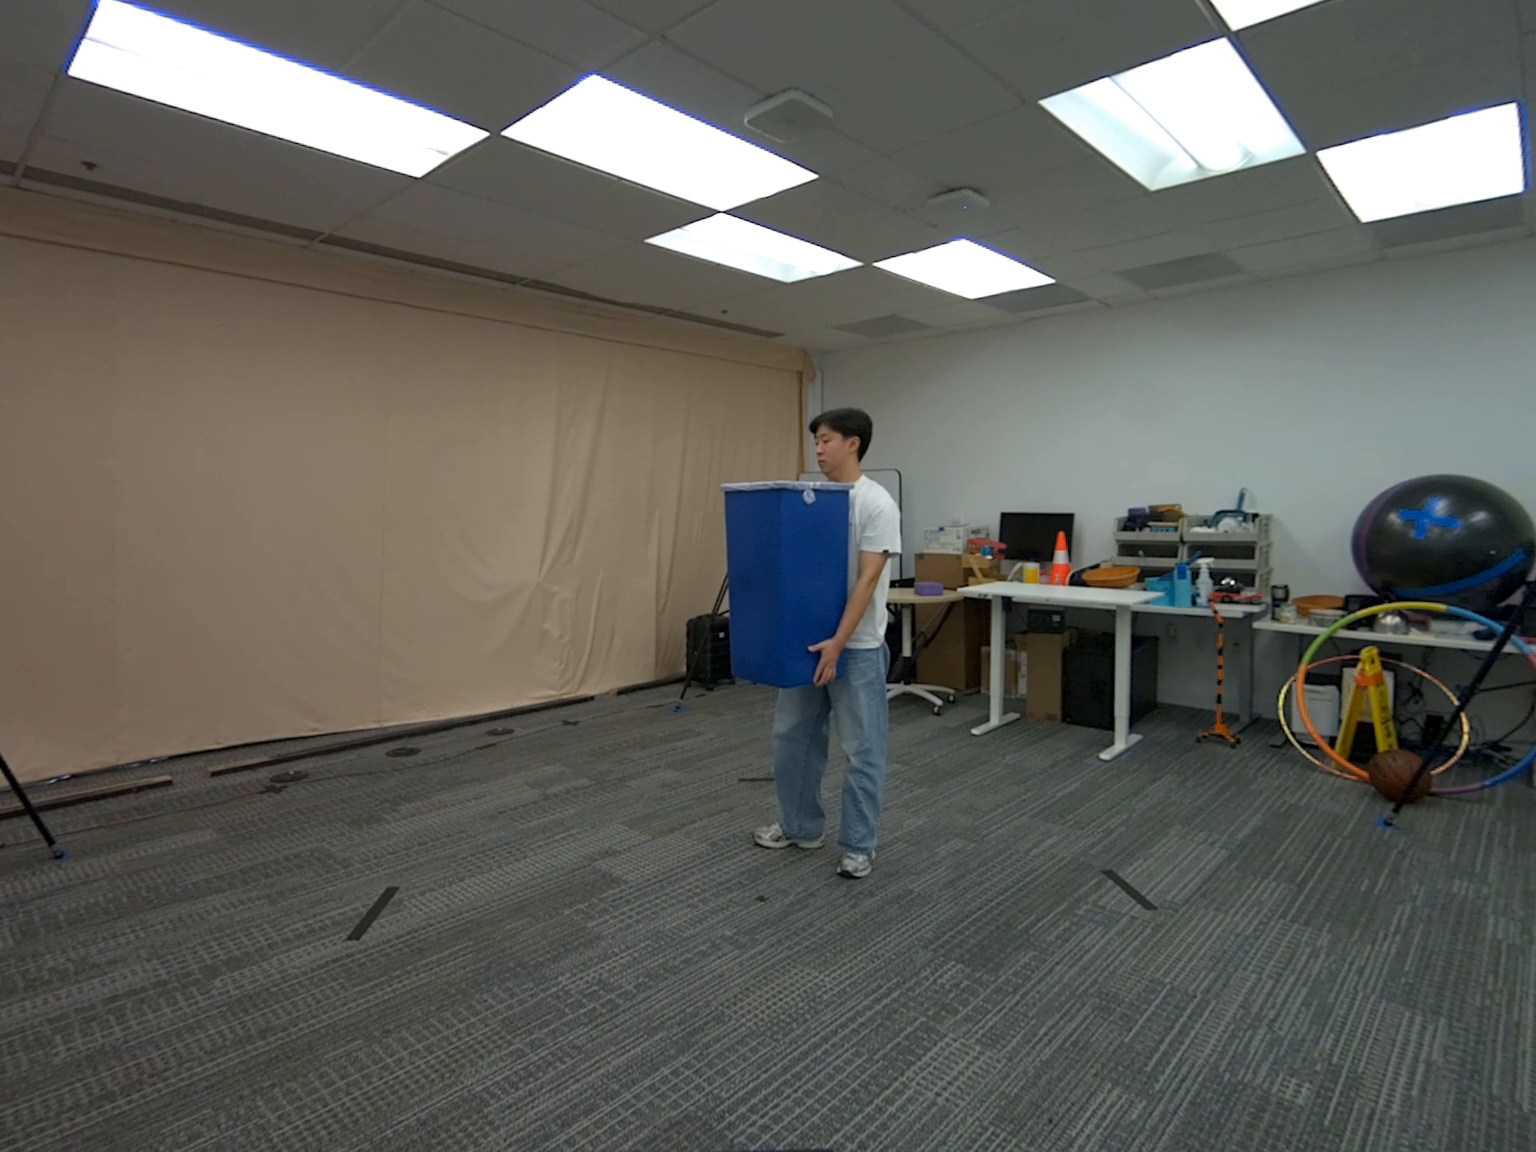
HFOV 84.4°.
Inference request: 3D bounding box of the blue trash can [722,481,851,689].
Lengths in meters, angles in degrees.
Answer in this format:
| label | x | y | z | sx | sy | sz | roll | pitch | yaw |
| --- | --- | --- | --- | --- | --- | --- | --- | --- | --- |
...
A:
| label | x | y | z | sx | sy | sz | roll | pitch | yaw |
| --- | --- | --- | --- | --- | --- | --- | --- | --- | --- |
| blue trash can | 0.055 | 0.017 | 3.097 | 0.366 | 0.713 | 0.386 | -1 | 2 | -41 |
